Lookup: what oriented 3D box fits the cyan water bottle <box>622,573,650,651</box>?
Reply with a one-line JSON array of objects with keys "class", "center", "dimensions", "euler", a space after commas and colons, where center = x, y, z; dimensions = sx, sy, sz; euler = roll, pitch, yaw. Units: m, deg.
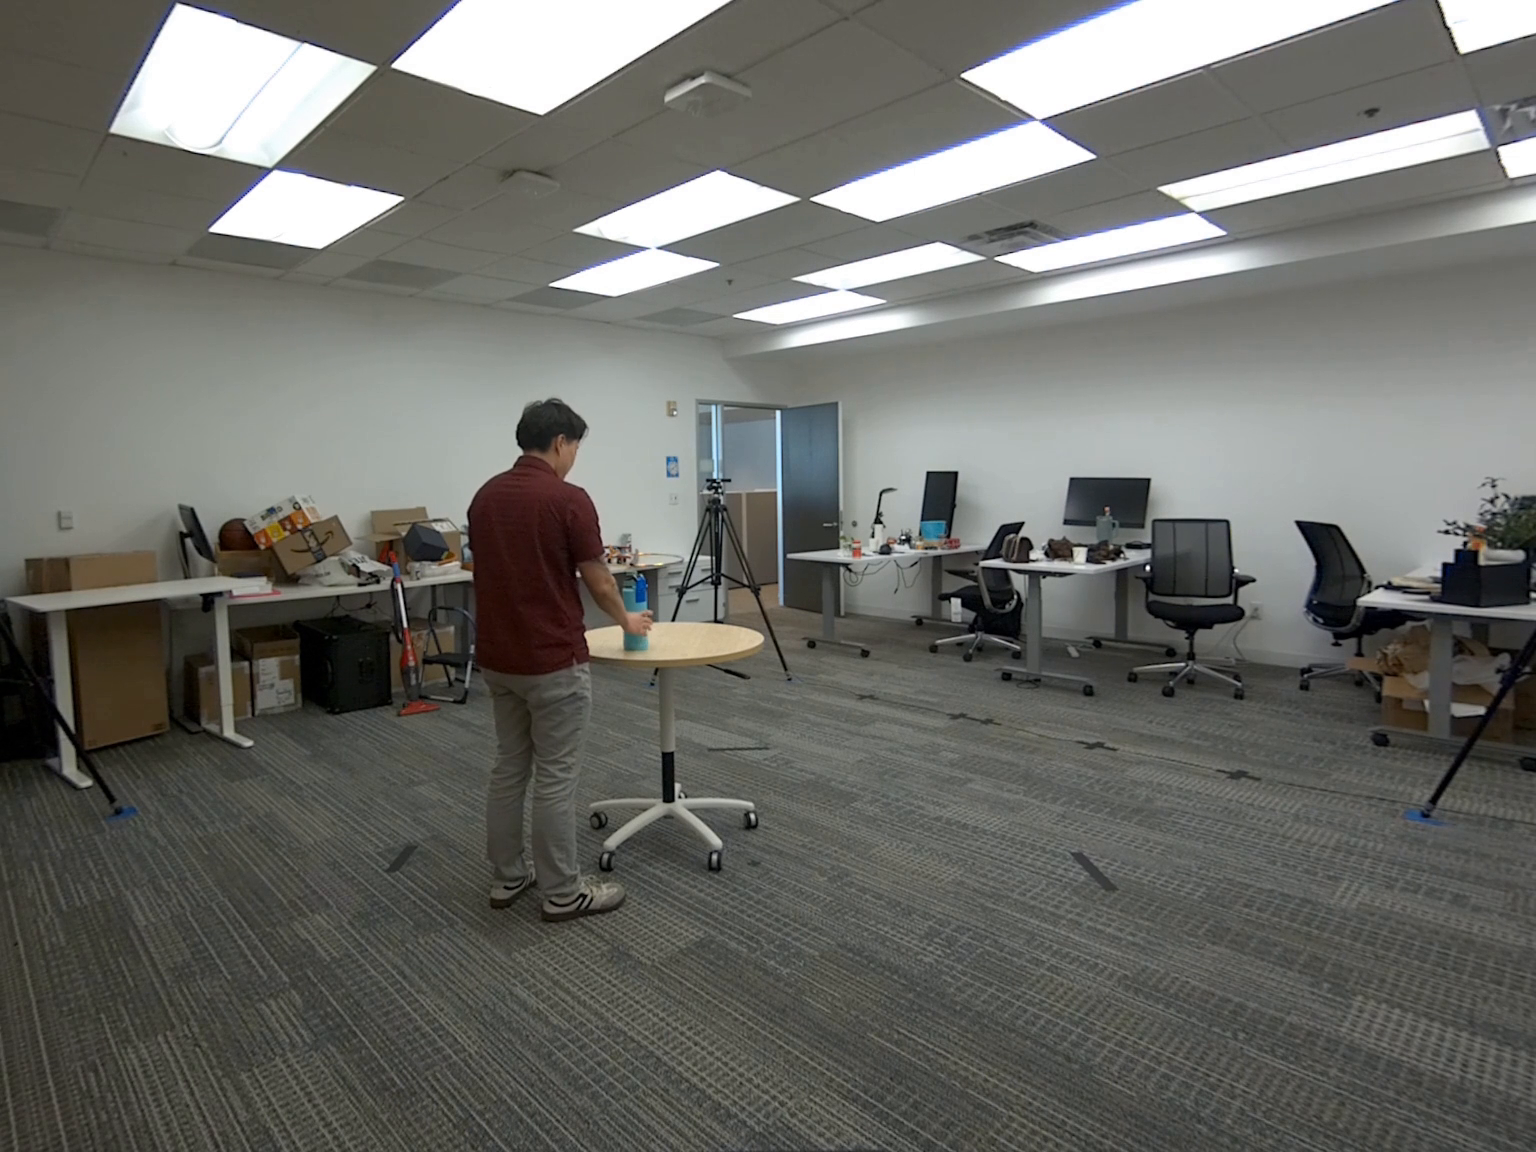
[{"class": "cyan water bottle", "center": [-0.484, 0.127, 3.126], "dimensions": [0.092, 0.283, 0.092], "euler": [0, 2, -2]}]
